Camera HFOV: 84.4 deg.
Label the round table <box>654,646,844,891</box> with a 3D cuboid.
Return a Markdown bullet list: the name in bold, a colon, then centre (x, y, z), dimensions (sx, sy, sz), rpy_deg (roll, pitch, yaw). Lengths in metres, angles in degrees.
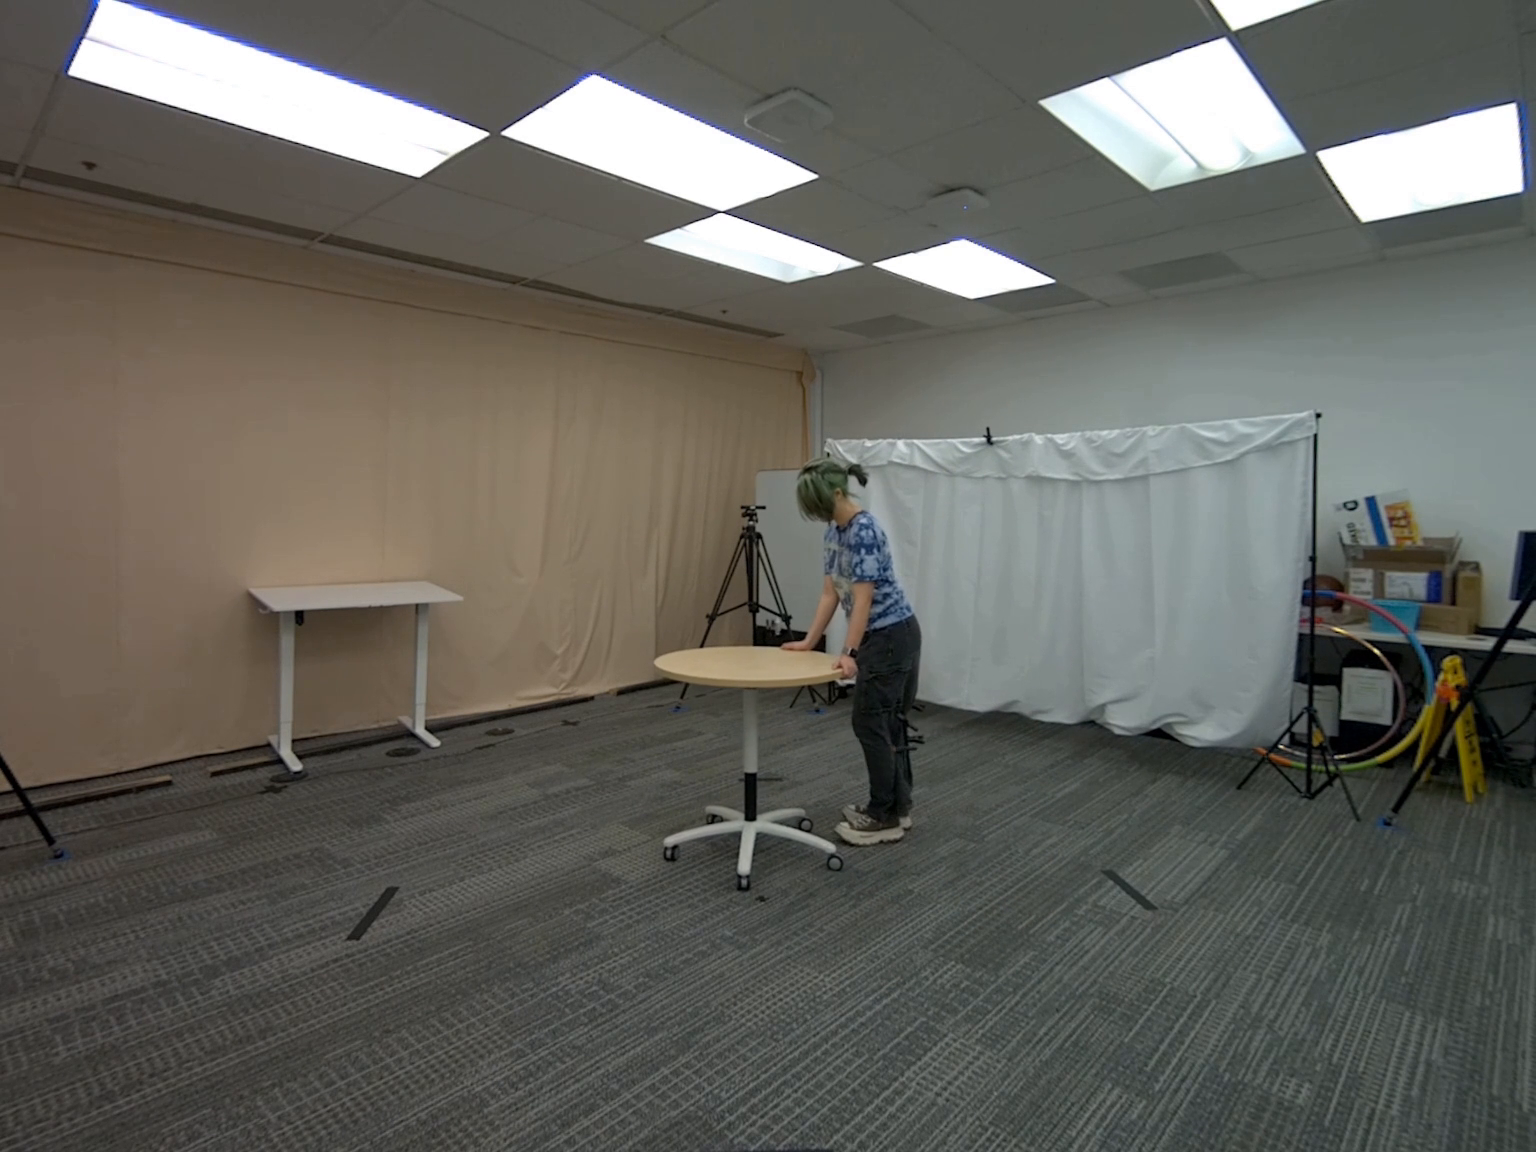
- **round table**: centre (-0.067, 0.729, 3.351), dimensions (0.763, 0.792, 0.766), rpy_deg (0, 3, -2)
